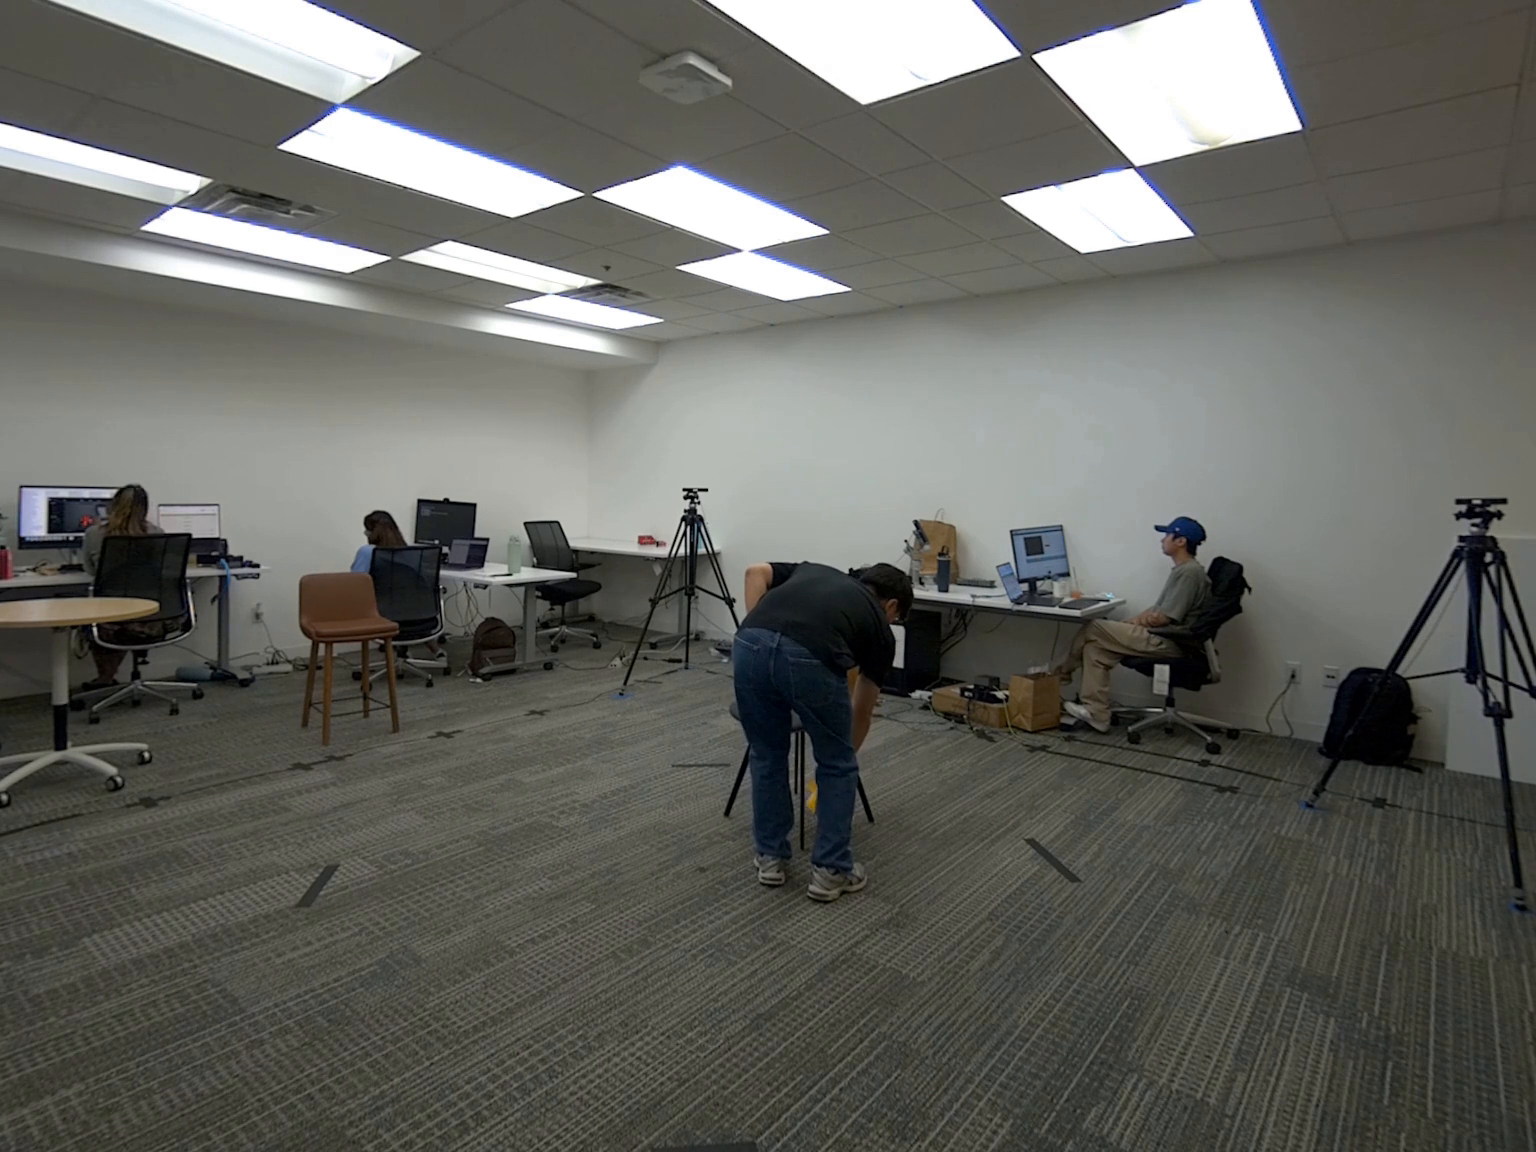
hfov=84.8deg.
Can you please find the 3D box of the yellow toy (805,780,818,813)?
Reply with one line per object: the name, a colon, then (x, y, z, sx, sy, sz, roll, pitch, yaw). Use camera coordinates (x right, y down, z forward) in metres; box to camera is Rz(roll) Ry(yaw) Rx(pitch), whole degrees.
yellow toy: (0.286, 0.868, 3.462, 0.213, 0.230, 0.186, 31, 12, 40)
